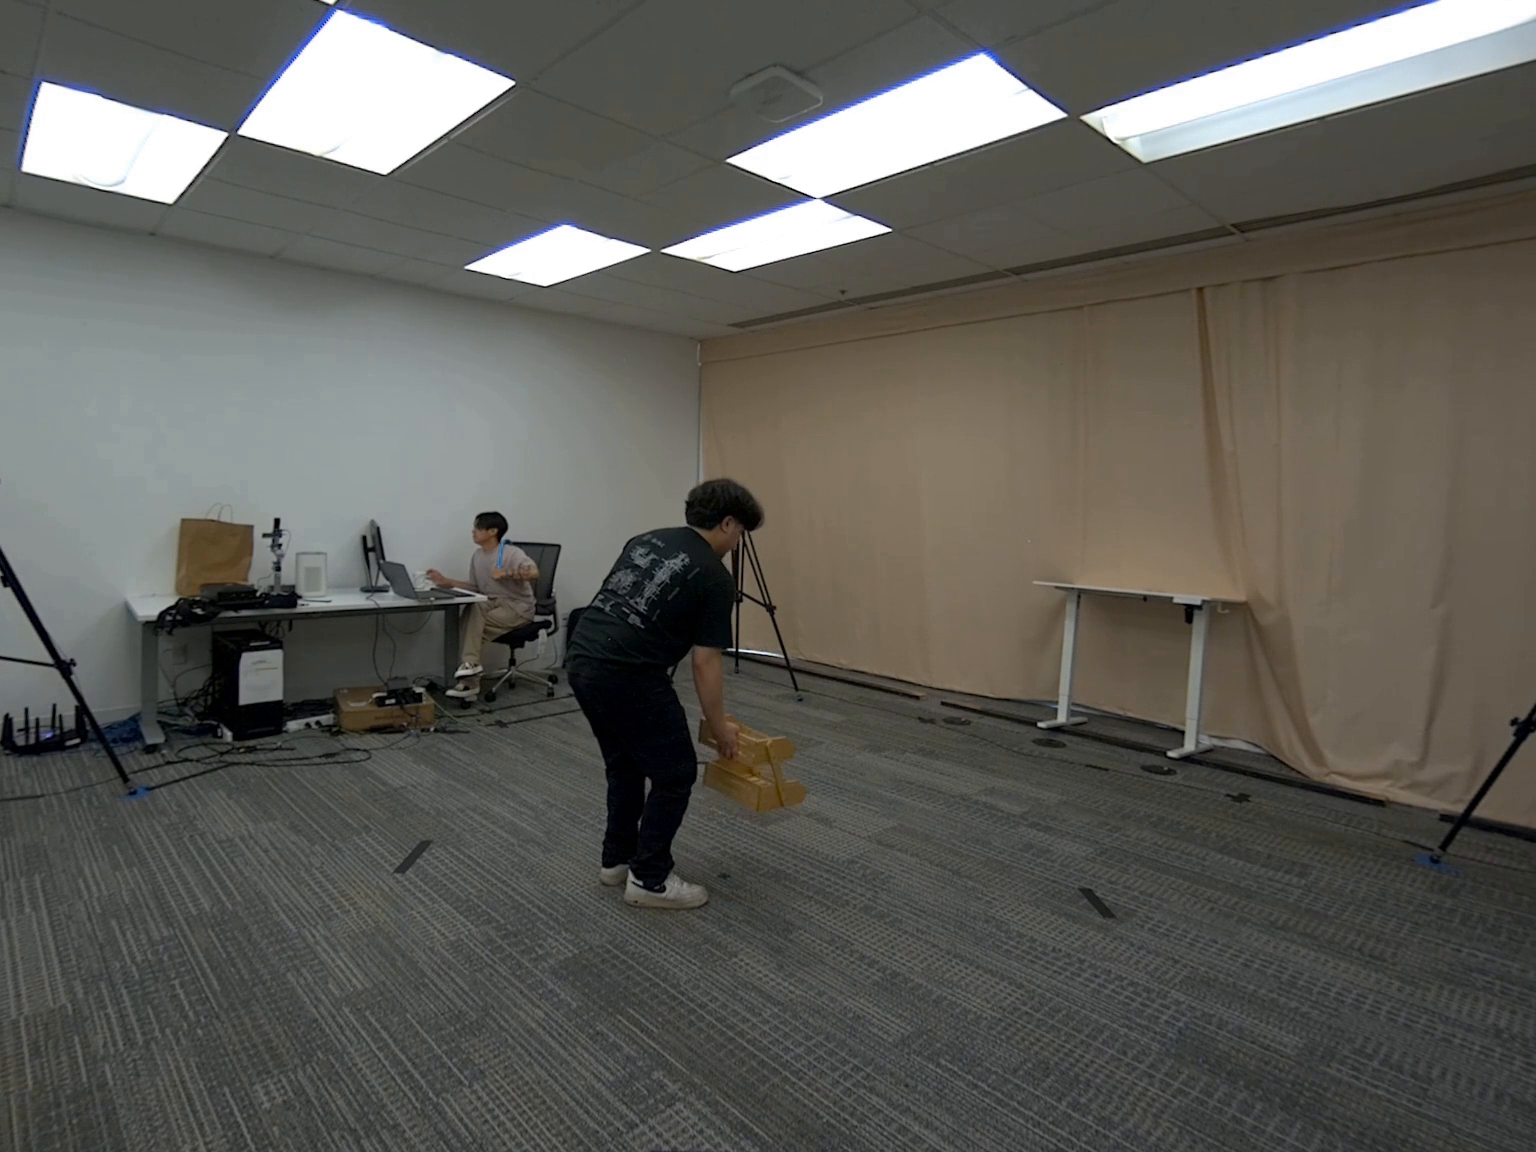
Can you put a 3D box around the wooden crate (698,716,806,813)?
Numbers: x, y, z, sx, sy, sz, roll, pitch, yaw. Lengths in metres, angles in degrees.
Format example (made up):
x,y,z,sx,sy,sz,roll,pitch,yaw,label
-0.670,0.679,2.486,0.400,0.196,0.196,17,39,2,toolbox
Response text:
x,y,z,sx,sy,sz,roll,pitch,yaw,label
-0.058,0.678,3.112,0.294,0.273,0.333,3,6,-45,wooden crate
